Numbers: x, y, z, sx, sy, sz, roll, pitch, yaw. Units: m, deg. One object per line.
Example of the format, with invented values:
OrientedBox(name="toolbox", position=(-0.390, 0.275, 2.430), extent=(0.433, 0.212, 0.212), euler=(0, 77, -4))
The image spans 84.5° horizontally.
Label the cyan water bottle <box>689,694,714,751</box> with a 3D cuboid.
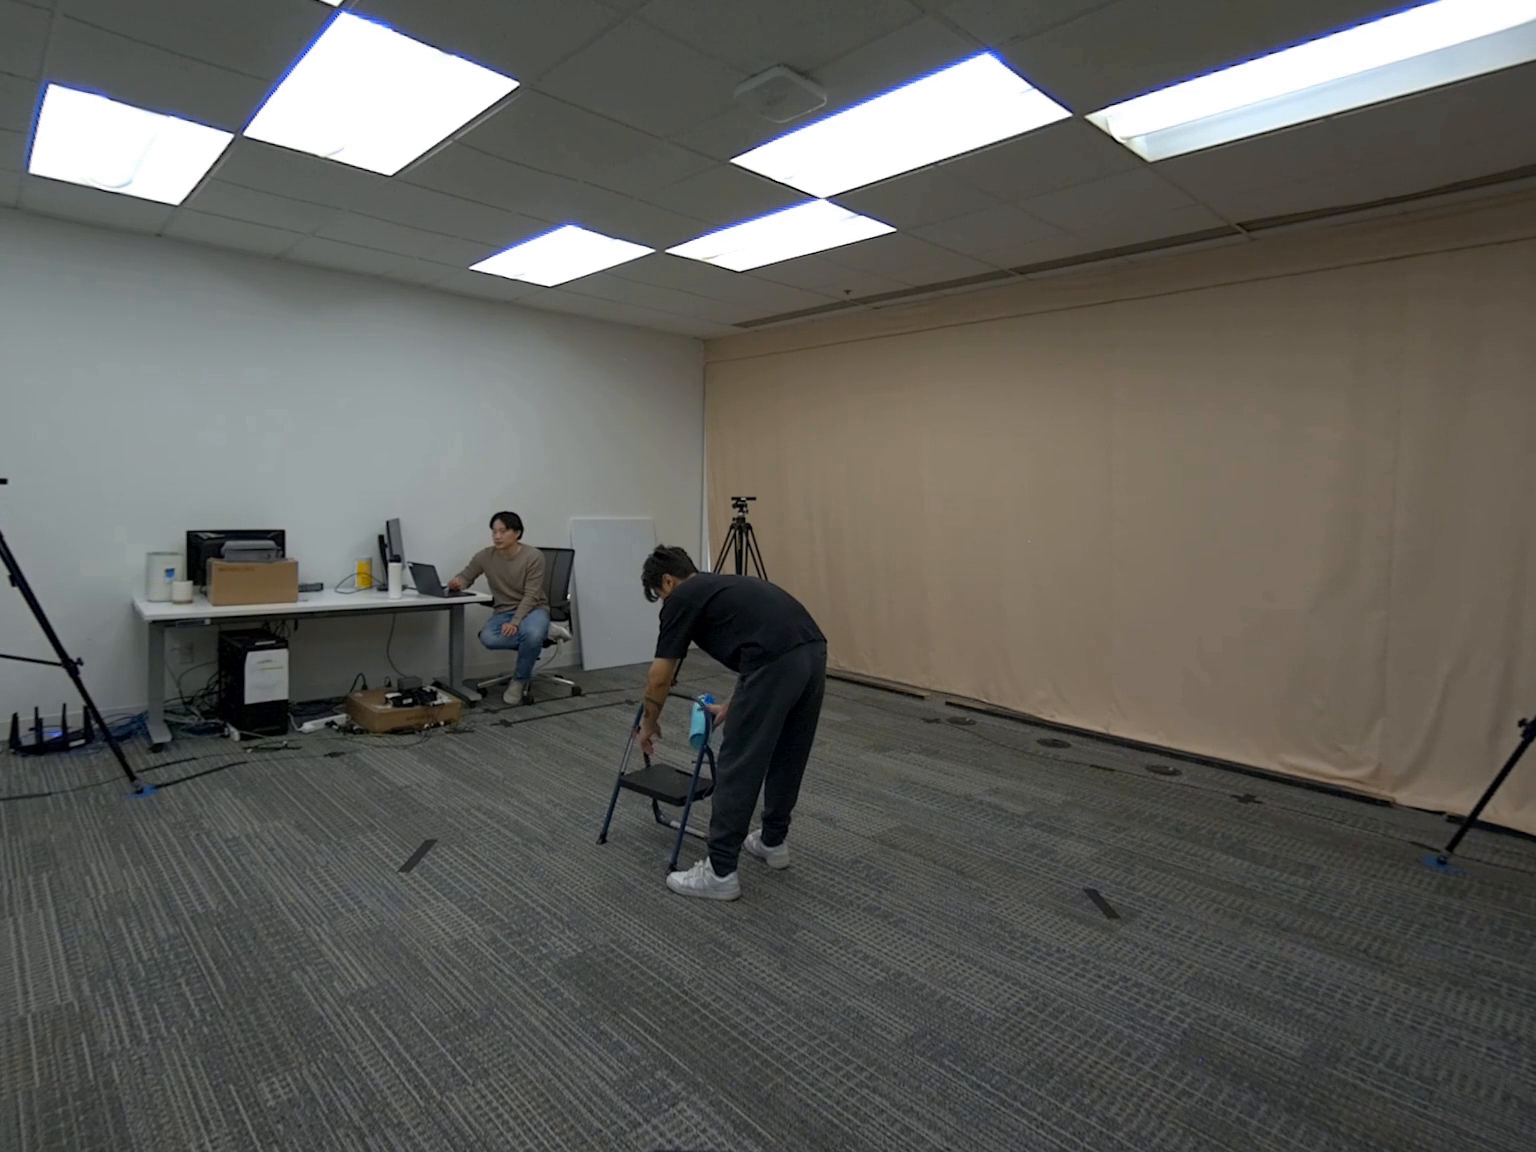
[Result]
OrientedBox(name="cyan water bottle", position=(-0.279, 0.596, 3.496), extent=(0.092, 0.090, 0.288), euler=(1, 28, 3))
